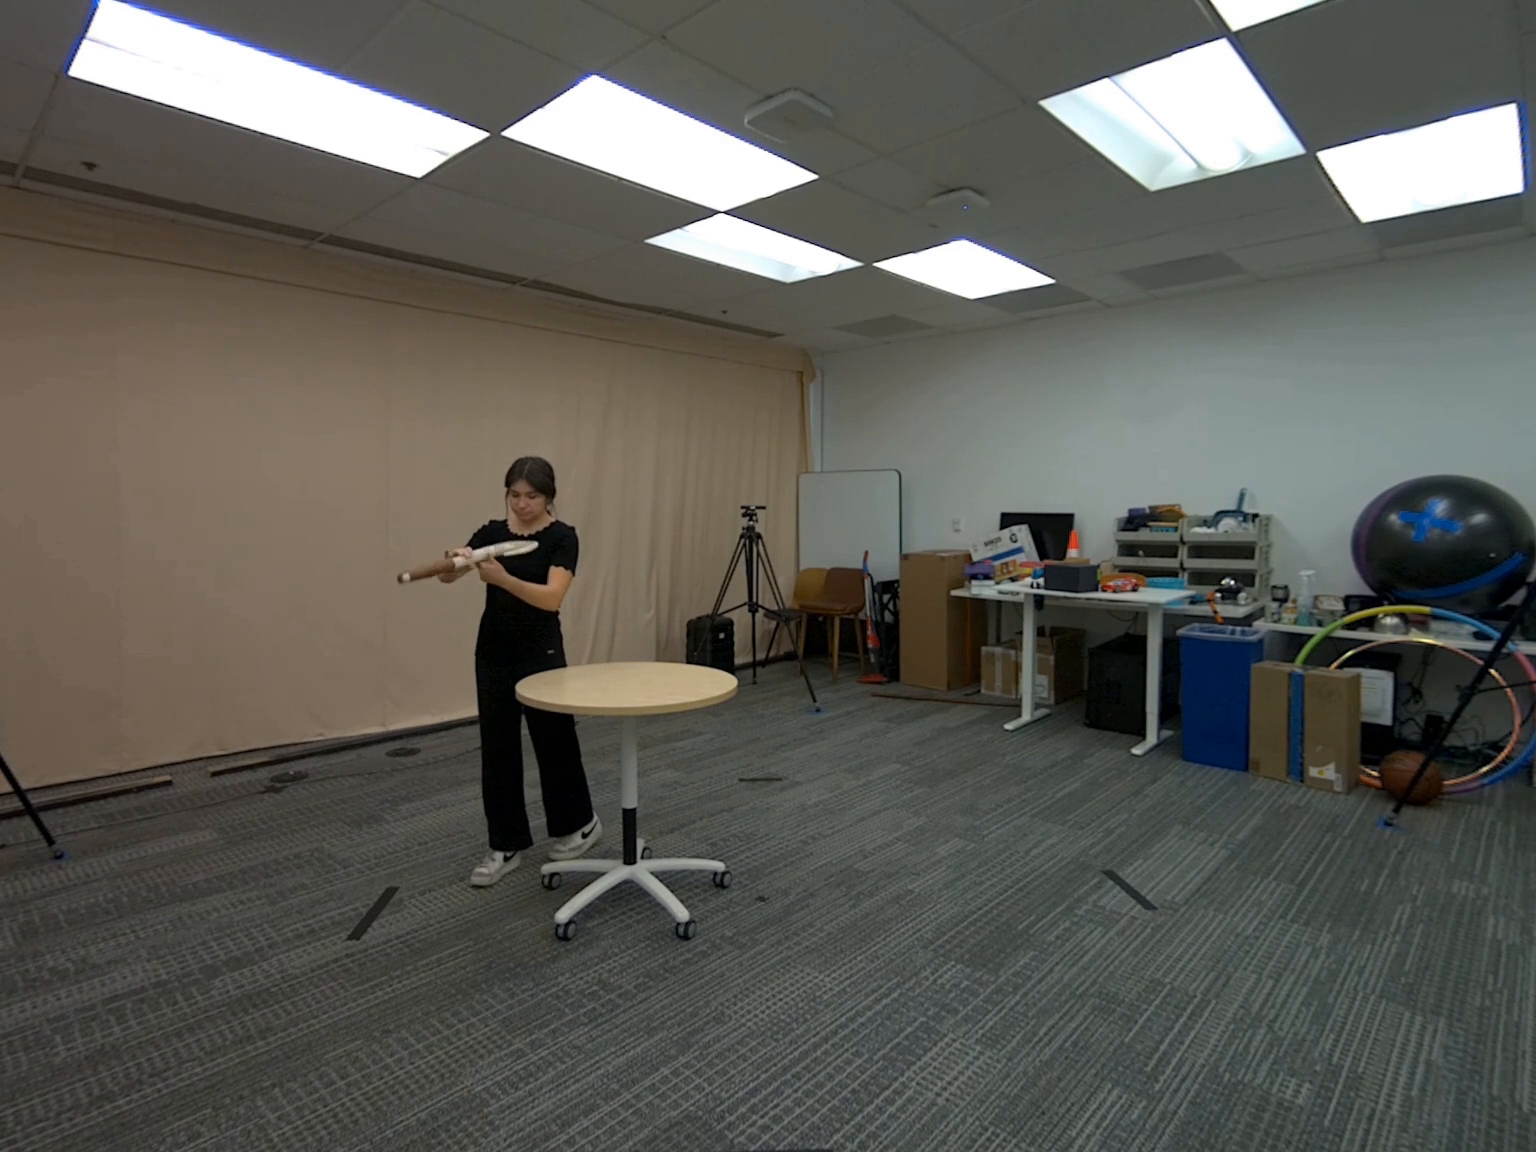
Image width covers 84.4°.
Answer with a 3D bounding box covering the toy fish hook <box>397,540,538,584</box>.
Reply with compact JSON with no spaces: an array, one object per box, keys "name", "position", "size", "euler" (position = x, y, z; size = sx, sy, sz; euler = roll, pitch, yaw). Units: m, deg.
[{"name":"toy fish hook","position":[-0.949,-0.049,2.736],"size":[0.230,0.048,0.497],"euler":[-10,9,32]}]
